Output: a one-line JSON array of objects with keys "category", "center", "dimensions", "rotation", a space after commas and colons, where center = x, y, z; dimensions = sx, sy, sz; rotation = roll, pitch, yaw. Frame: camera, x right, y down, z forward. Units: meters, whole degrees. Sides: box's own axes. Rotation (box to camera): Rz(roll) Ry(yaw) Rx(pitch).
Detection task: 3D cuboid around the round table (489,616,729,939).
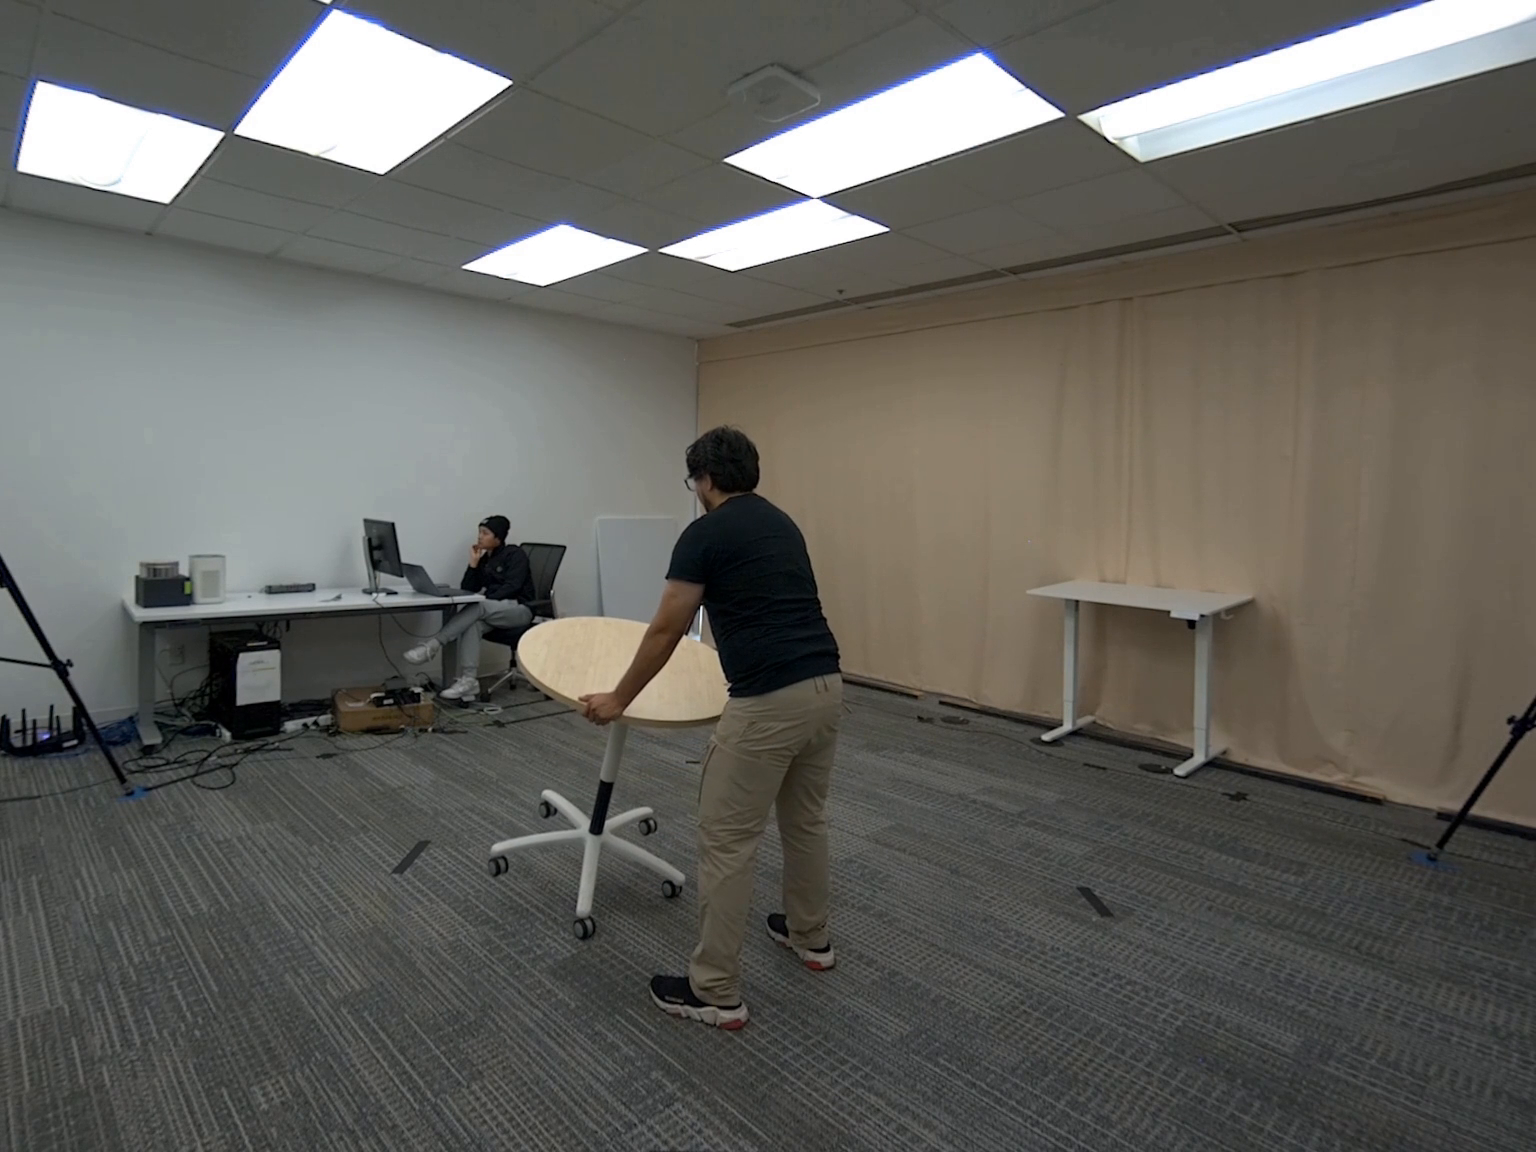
[{"category": "round table", "center": [-0.539, 0.664, 2.889], "dimensions": [0.782, 0.780, 0.794], "rotation": [12, 14, -5]}]
